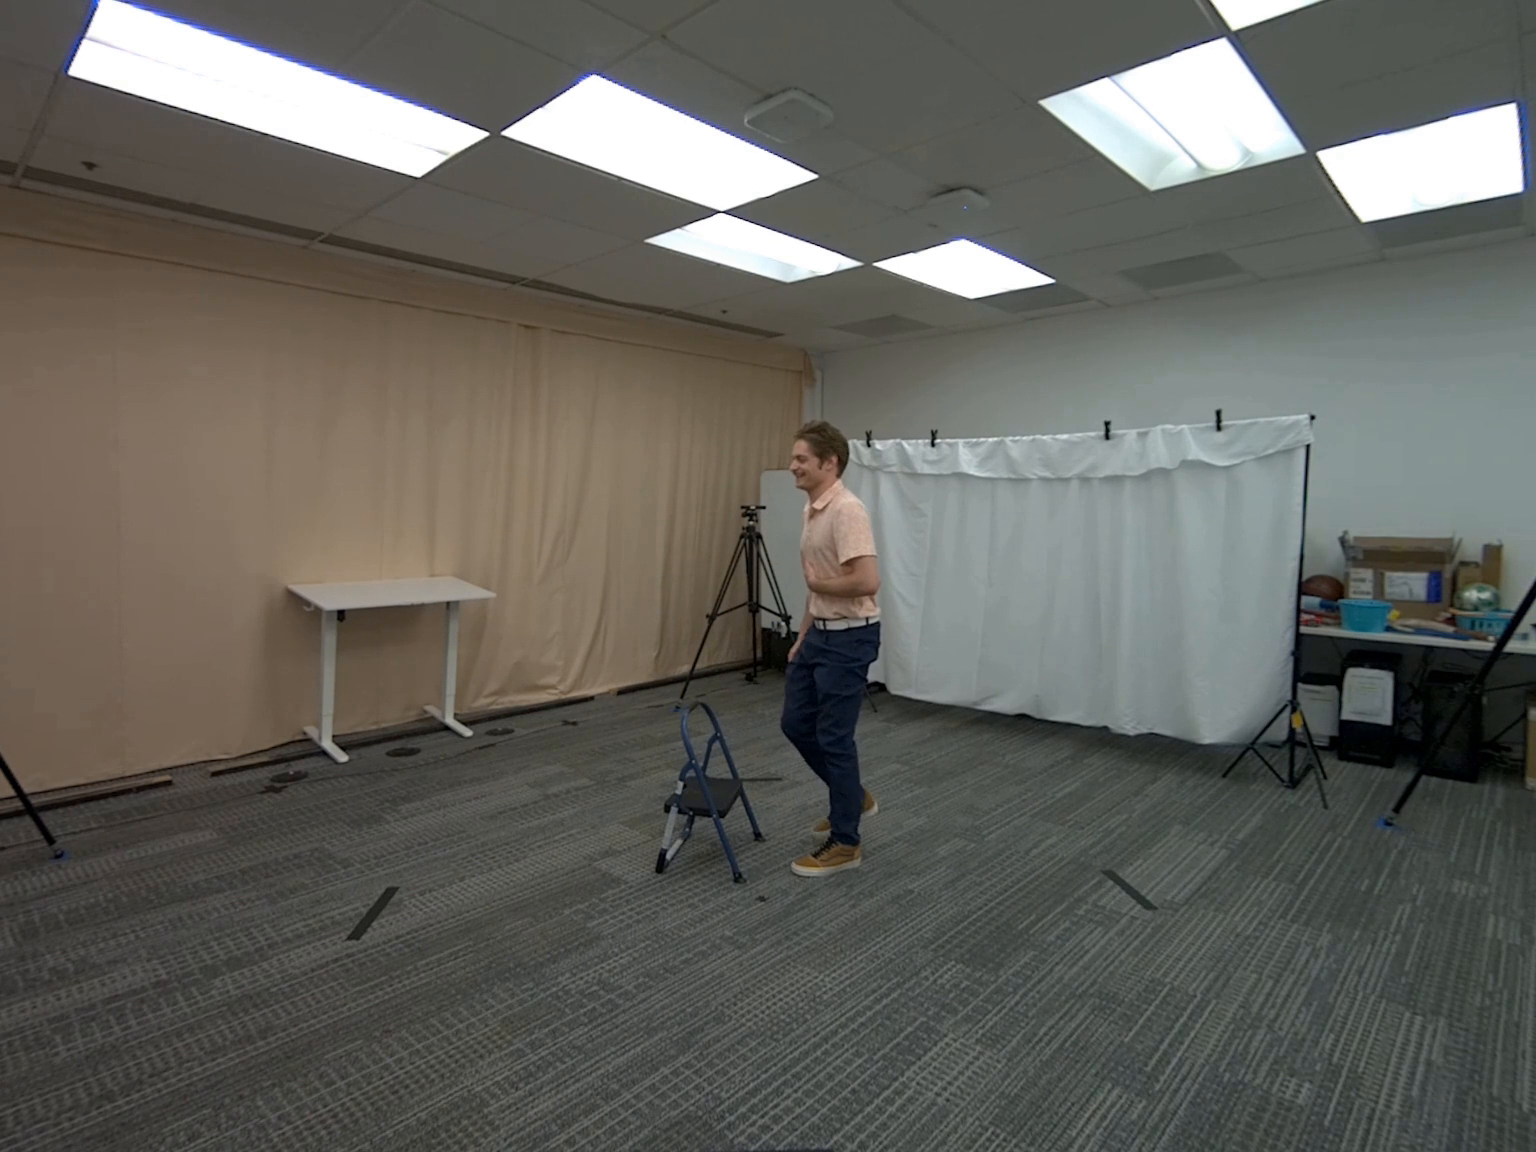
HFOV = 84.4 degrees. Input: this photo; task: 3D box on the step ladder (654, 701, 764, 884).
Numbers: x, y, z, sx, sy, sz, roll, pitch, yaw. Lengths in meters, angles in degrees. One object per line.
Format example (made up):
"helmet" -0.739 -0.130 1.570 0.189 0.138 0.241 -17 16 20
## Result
"step ladder" -0.225 0.815 3.338 0.354 0.605 0.425 0 3 12
